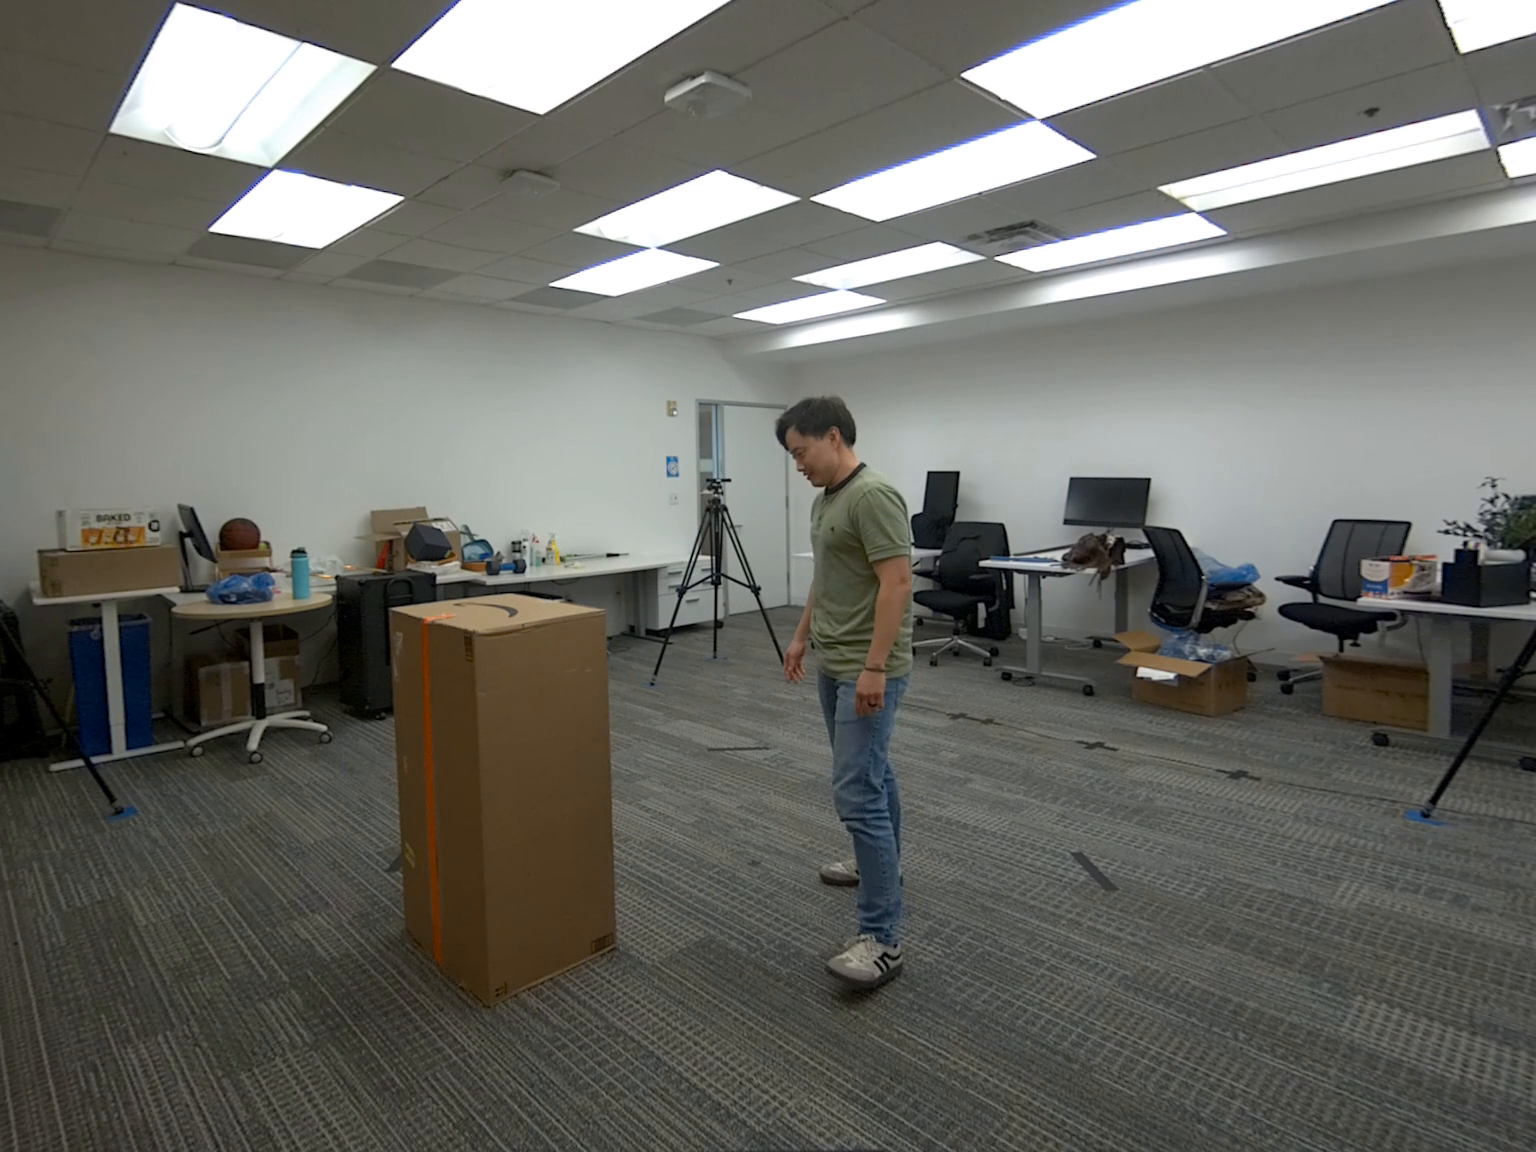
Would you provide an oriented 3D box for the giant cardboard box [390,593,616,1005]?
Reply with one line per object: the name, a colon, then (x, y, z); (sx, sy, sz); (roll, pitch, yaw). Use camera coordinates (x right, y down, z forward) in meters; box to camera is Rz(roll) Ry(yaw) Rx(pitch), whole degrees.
giant cardboard box: (-0.807, 0.608, 2.589); (0.415, 1.021, 0.595); (-6, 6, -43)
